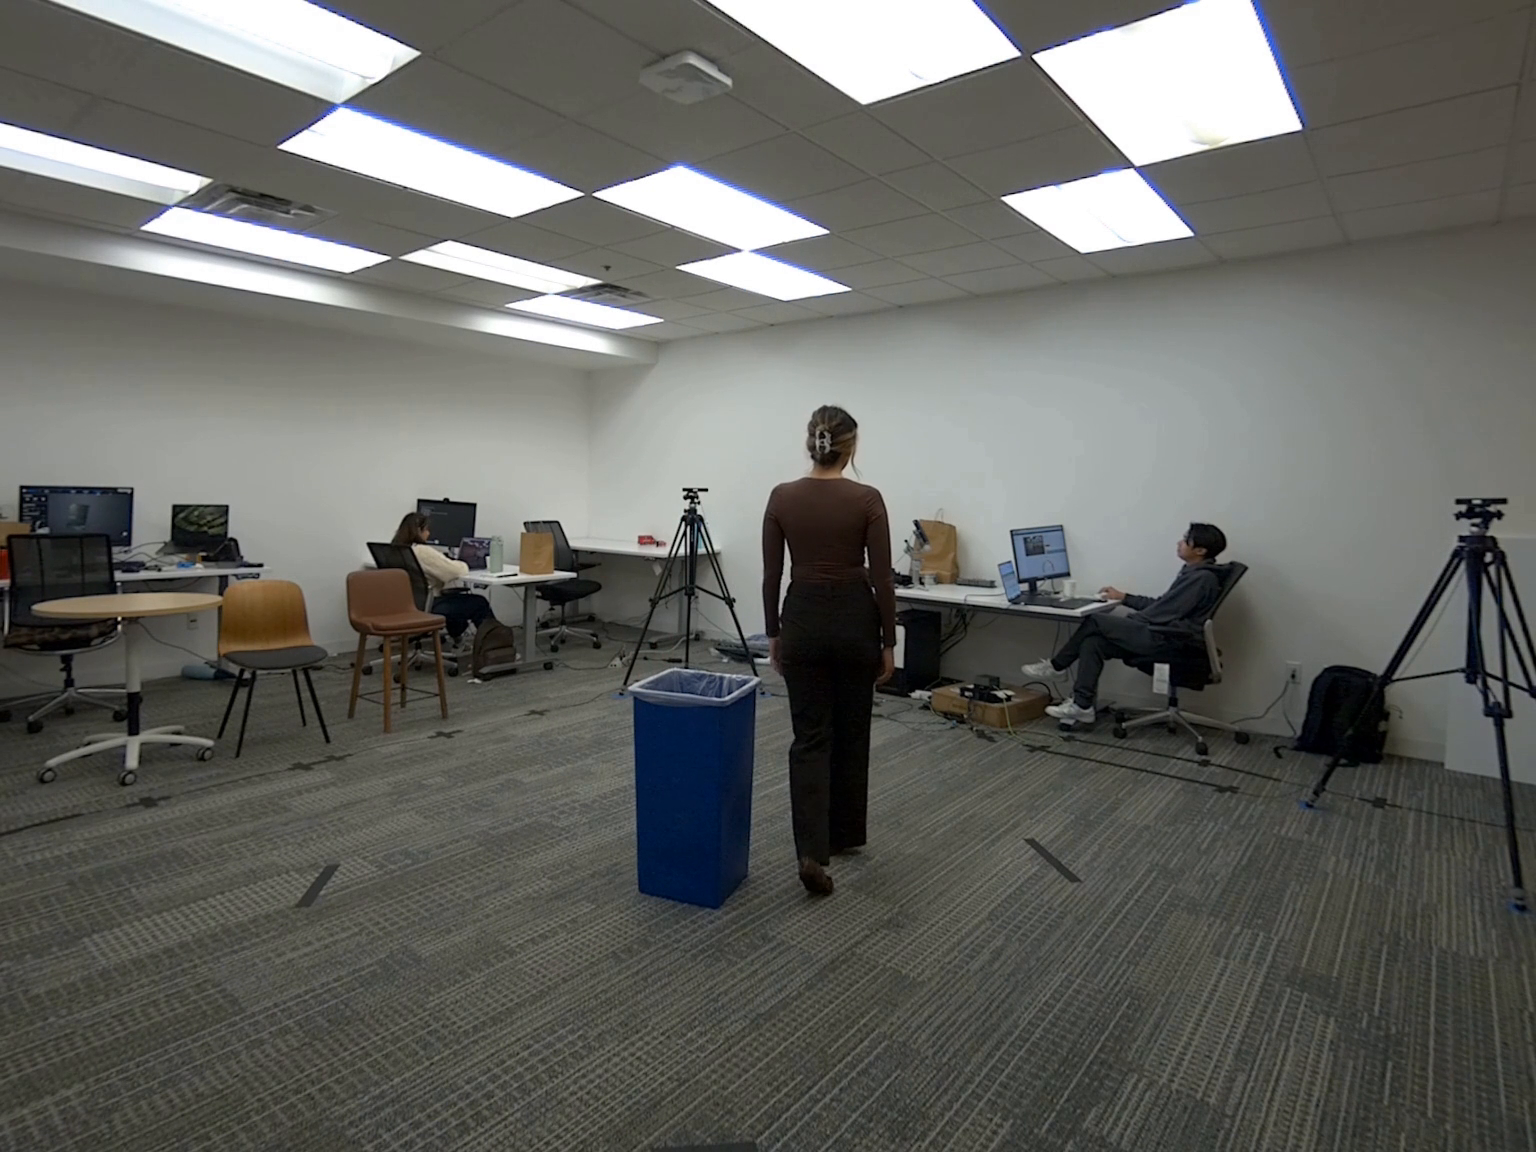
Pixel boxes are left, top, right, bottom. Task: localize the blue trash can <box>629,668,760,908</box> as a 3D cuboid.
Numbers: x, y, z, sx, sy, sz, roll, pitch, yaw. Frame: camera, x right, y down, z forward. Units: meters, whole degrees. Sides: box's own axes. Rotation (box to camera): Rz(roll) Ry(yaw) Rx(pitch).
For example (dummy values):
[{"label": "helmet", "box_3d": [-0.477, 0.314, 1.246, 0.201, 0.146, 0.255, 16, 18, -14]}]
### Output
[{"label": "blue trash can", "box_3d": [-0.262, 0.721, 2.976, 0.387, 0.712, 0.366, 1, 3, 22]}]
